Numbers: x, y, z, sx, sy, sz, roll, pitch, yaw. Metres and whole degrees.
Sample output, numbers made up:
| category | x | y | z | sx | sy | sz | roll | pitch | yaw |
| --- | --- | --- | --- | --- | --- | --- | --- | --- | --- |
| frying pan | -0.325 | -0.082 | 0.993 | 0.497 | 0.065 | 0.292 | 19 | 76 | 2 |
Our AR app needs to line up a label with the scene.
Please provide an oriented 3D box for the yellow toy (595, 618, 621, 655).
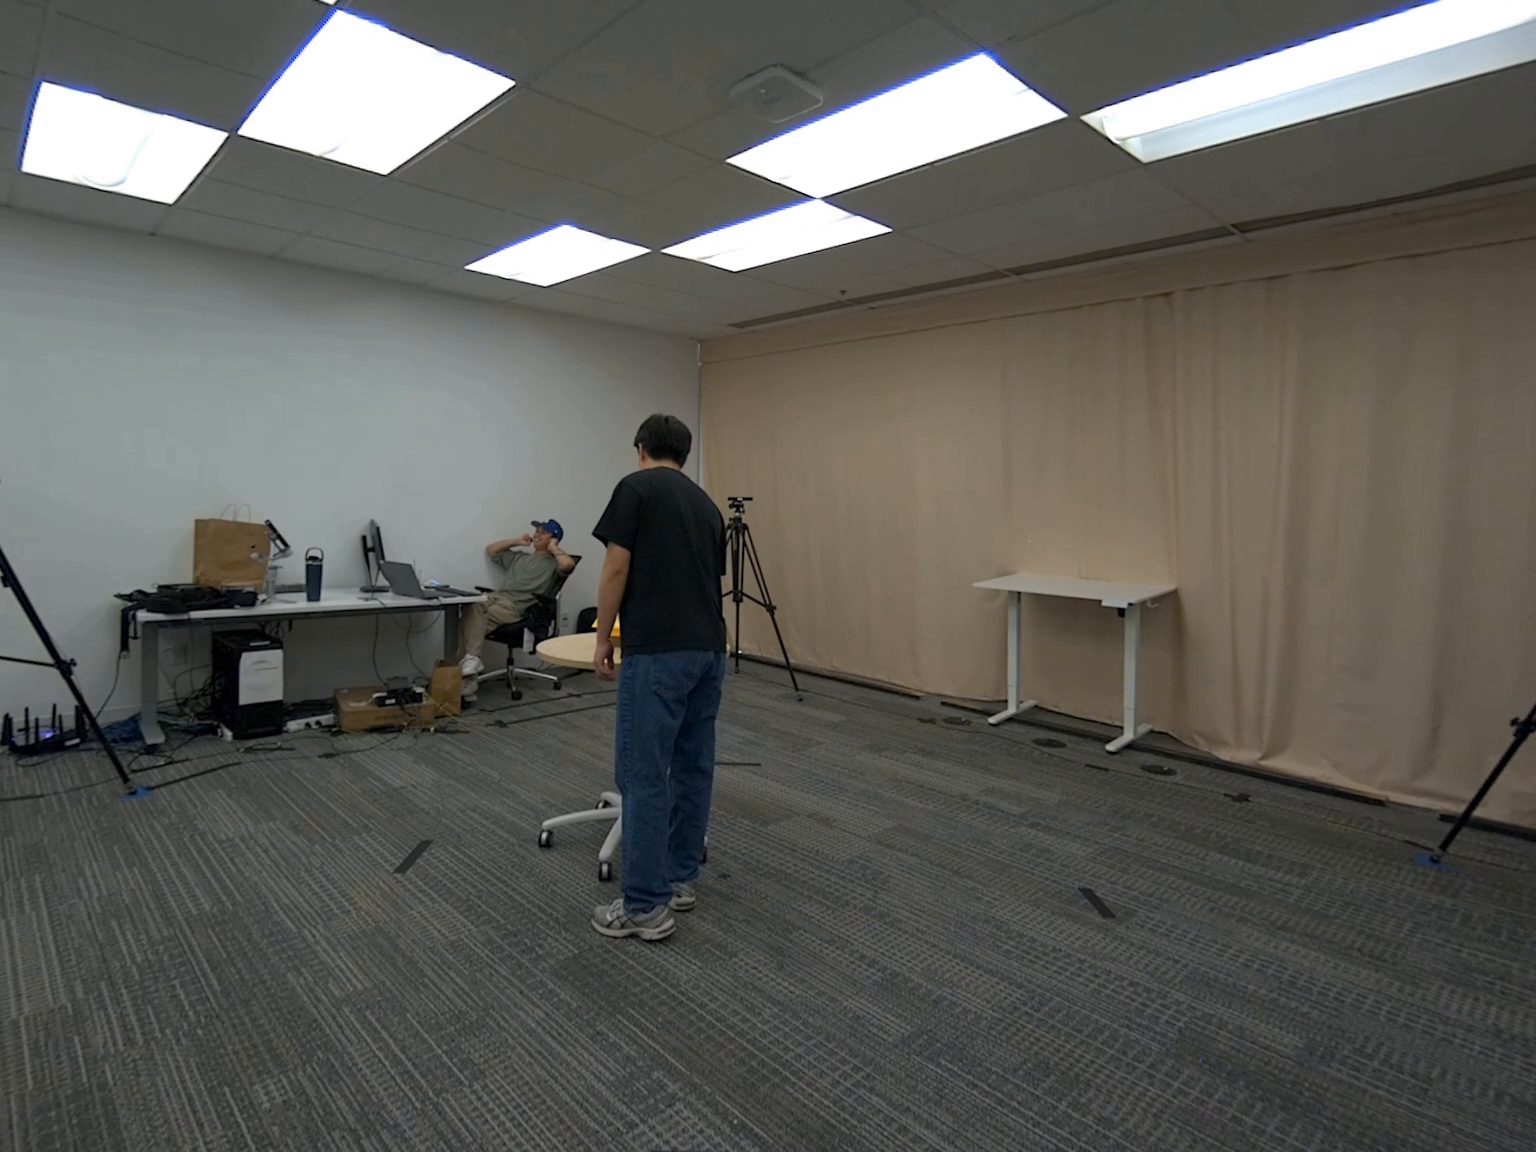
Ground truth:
| category | x | y | z | sx | sy | sz | roll | pitch | yaw |
| --- | --- | --- | --- | --- | --- | --- | --- | --- | --- |
| yellow toy | -0.579 | 0.164 | 3.375 | 0.207 | 0.230 | 0.191 | 3 | 3 | 14 |
